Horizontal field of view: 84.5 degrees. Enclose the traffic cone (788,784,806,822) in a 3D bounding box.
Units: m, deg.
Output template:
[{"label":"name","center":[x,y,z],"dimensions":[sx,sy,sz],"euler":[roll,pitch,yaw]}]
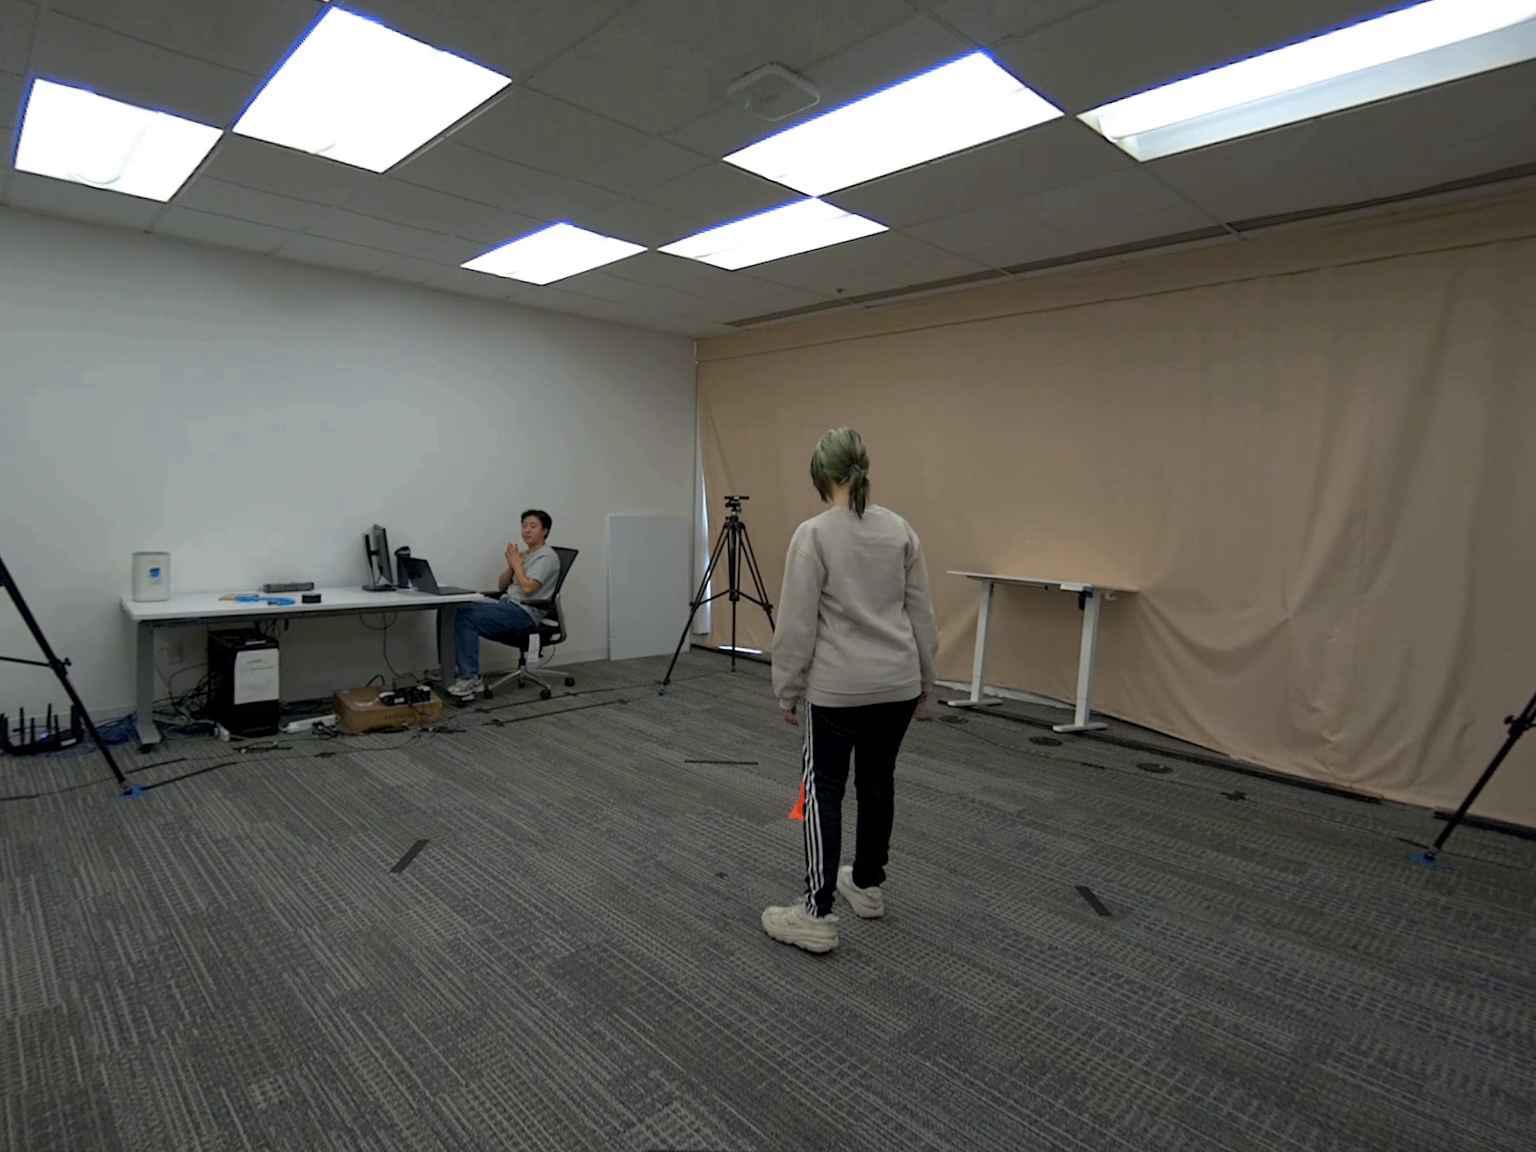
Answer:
[{"label":"traffic cone","center":[0.201,0.873,3.759],"dimensions":[0.205,0.383,0.203],"euler":[2,2,13]}]
